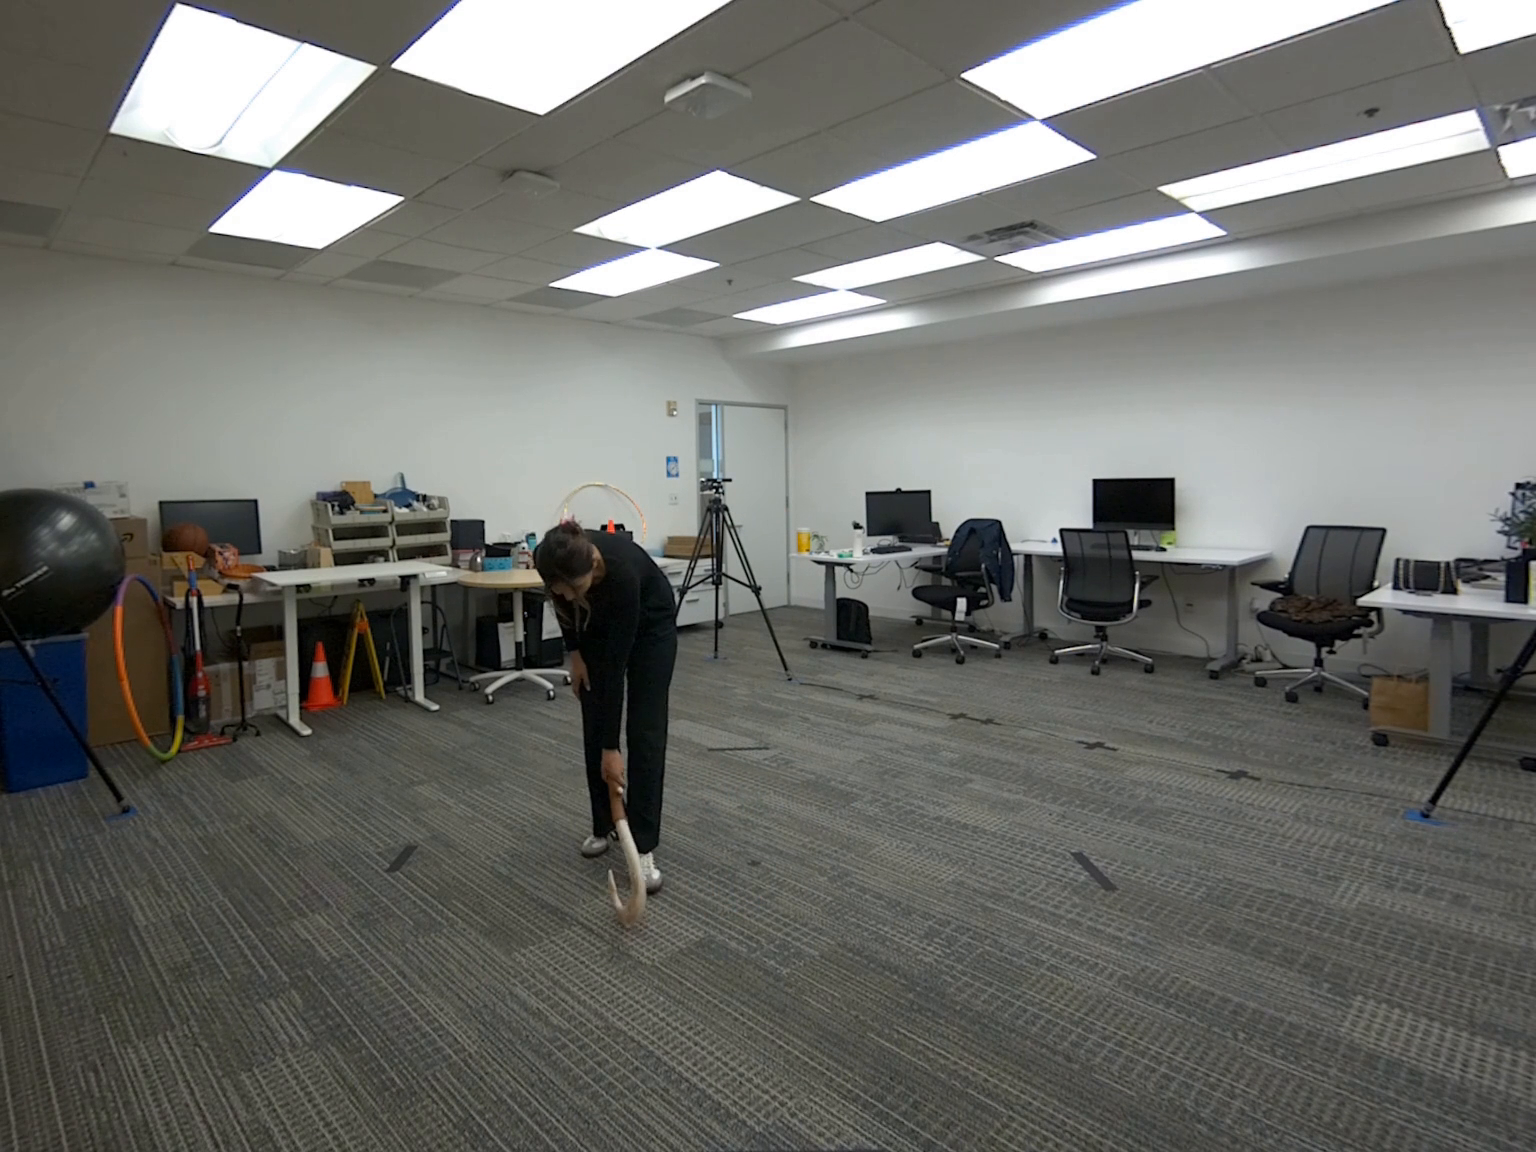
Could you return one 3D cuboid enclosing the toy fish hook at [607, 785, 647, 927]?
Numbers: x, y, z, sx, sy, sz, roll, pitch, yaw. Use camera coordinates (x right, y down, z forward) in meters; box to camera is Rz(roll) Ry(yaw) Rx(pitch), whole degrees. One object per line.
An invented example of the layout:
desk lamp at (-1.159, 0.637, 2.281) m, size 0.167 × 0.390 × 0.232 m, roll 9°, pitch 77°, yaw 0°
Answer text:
toy fish hook at (-0.487, 0.871, 2.789) m, size 0.047 × 0.523 × 0.225 m, roll 13°, pitch -44°, yaw -37°
